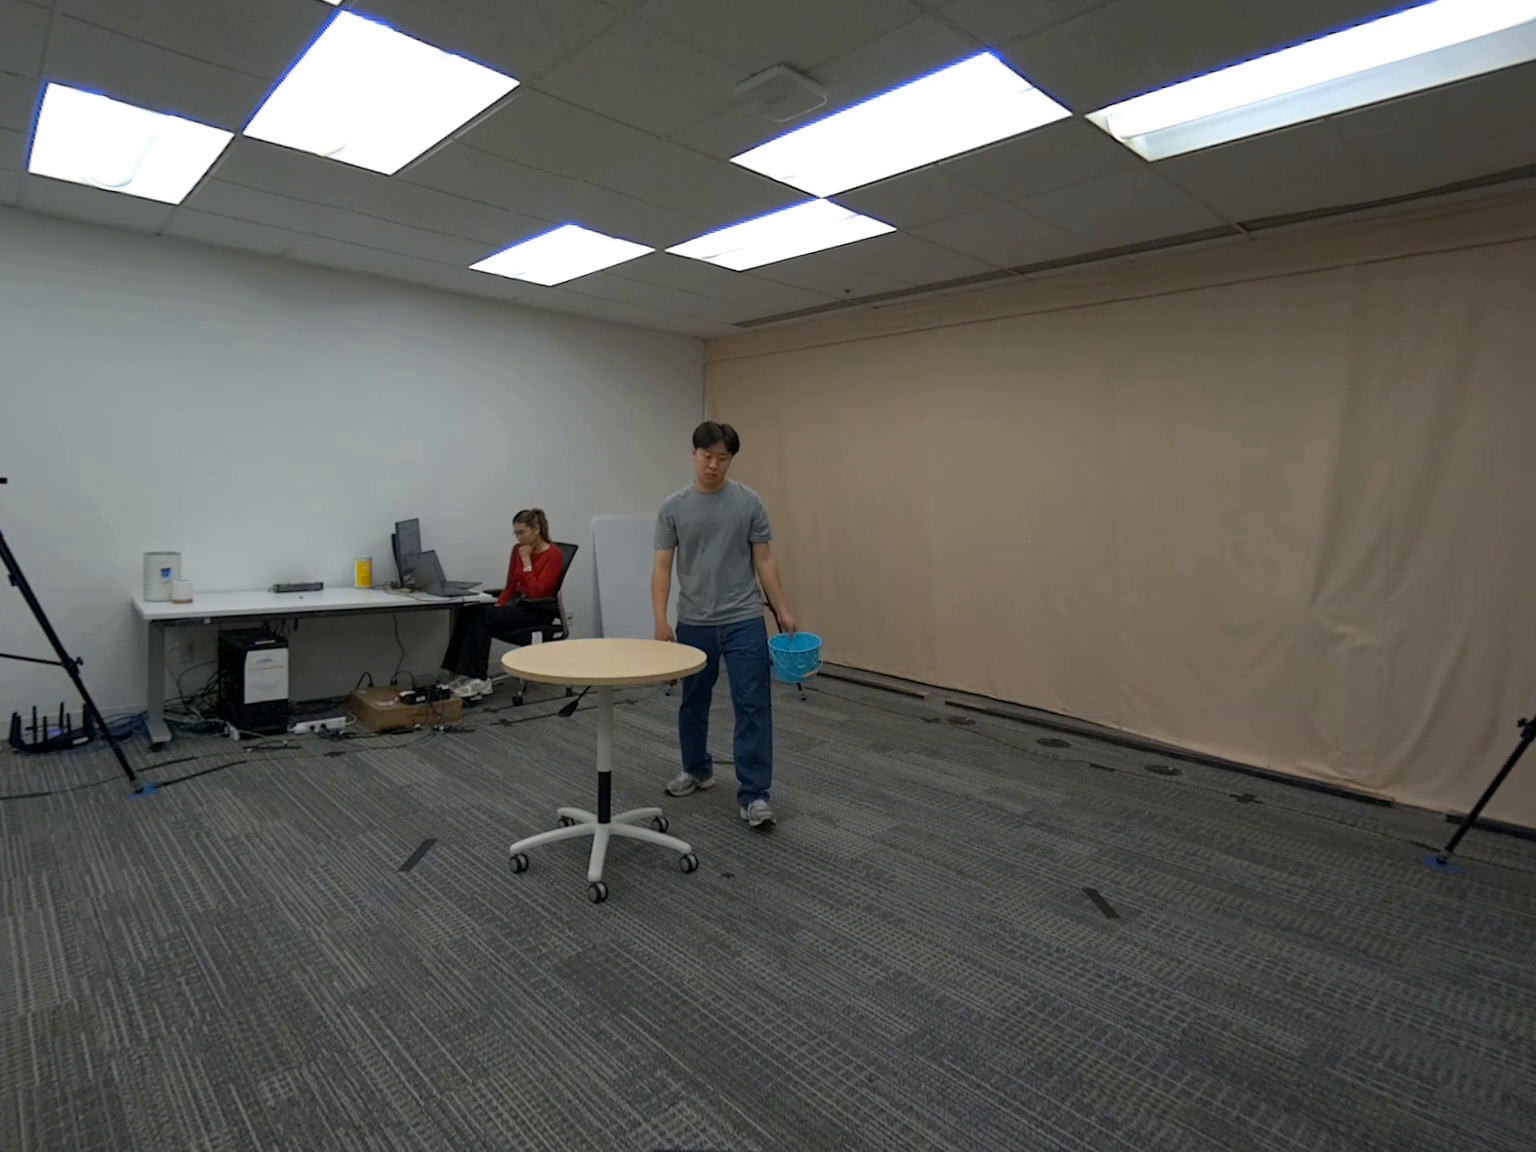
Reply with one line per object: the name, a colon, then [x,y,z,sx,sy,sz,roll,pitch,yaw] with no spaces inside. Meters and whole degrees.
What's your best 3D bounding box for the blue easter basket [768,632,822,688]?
blue easter basket: [0.103,0.360,3.639,0.243,0.154,0.246,-2,14,-1]
